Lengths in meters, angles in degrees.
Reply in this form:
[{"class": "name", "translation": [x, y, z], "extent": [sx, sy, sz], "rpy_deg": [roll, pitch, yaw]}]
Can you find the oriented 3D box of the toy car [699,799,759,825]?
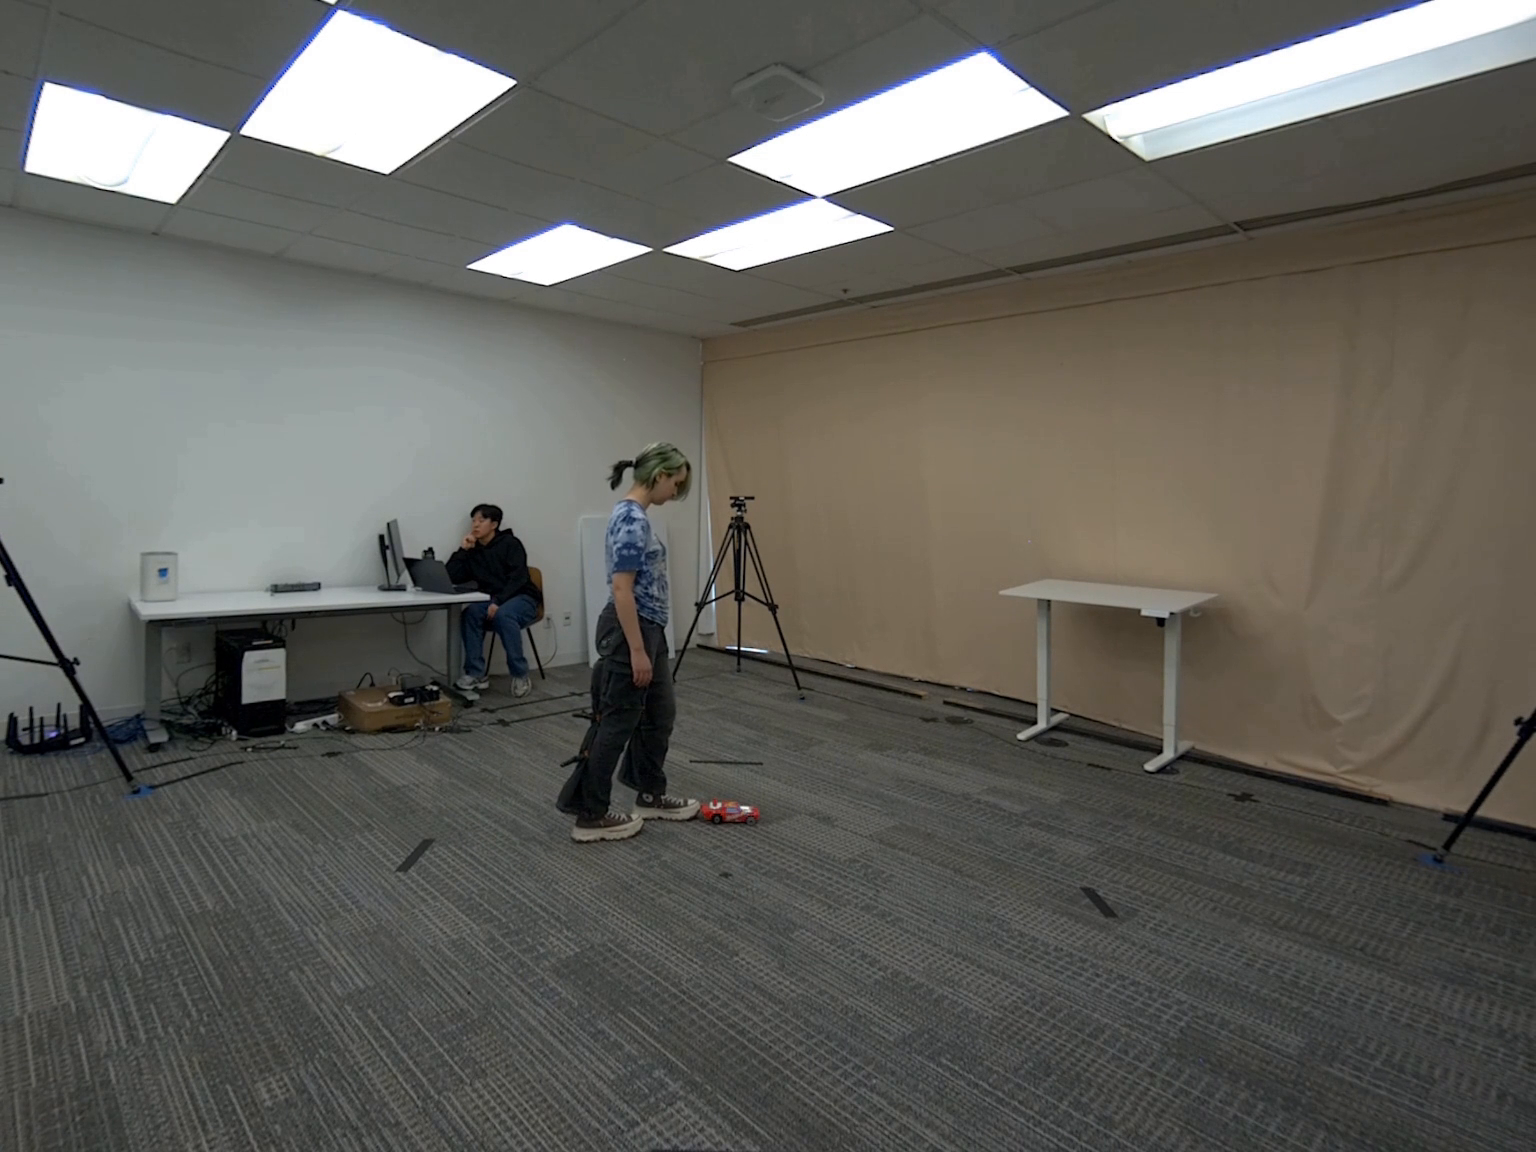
[{"class": "toy car", "translation": [-0.180, 1.027, 3.643], "extent": [0.254, 0.083, 0.131], "rpy_deg": [13, 5, -1]}]
